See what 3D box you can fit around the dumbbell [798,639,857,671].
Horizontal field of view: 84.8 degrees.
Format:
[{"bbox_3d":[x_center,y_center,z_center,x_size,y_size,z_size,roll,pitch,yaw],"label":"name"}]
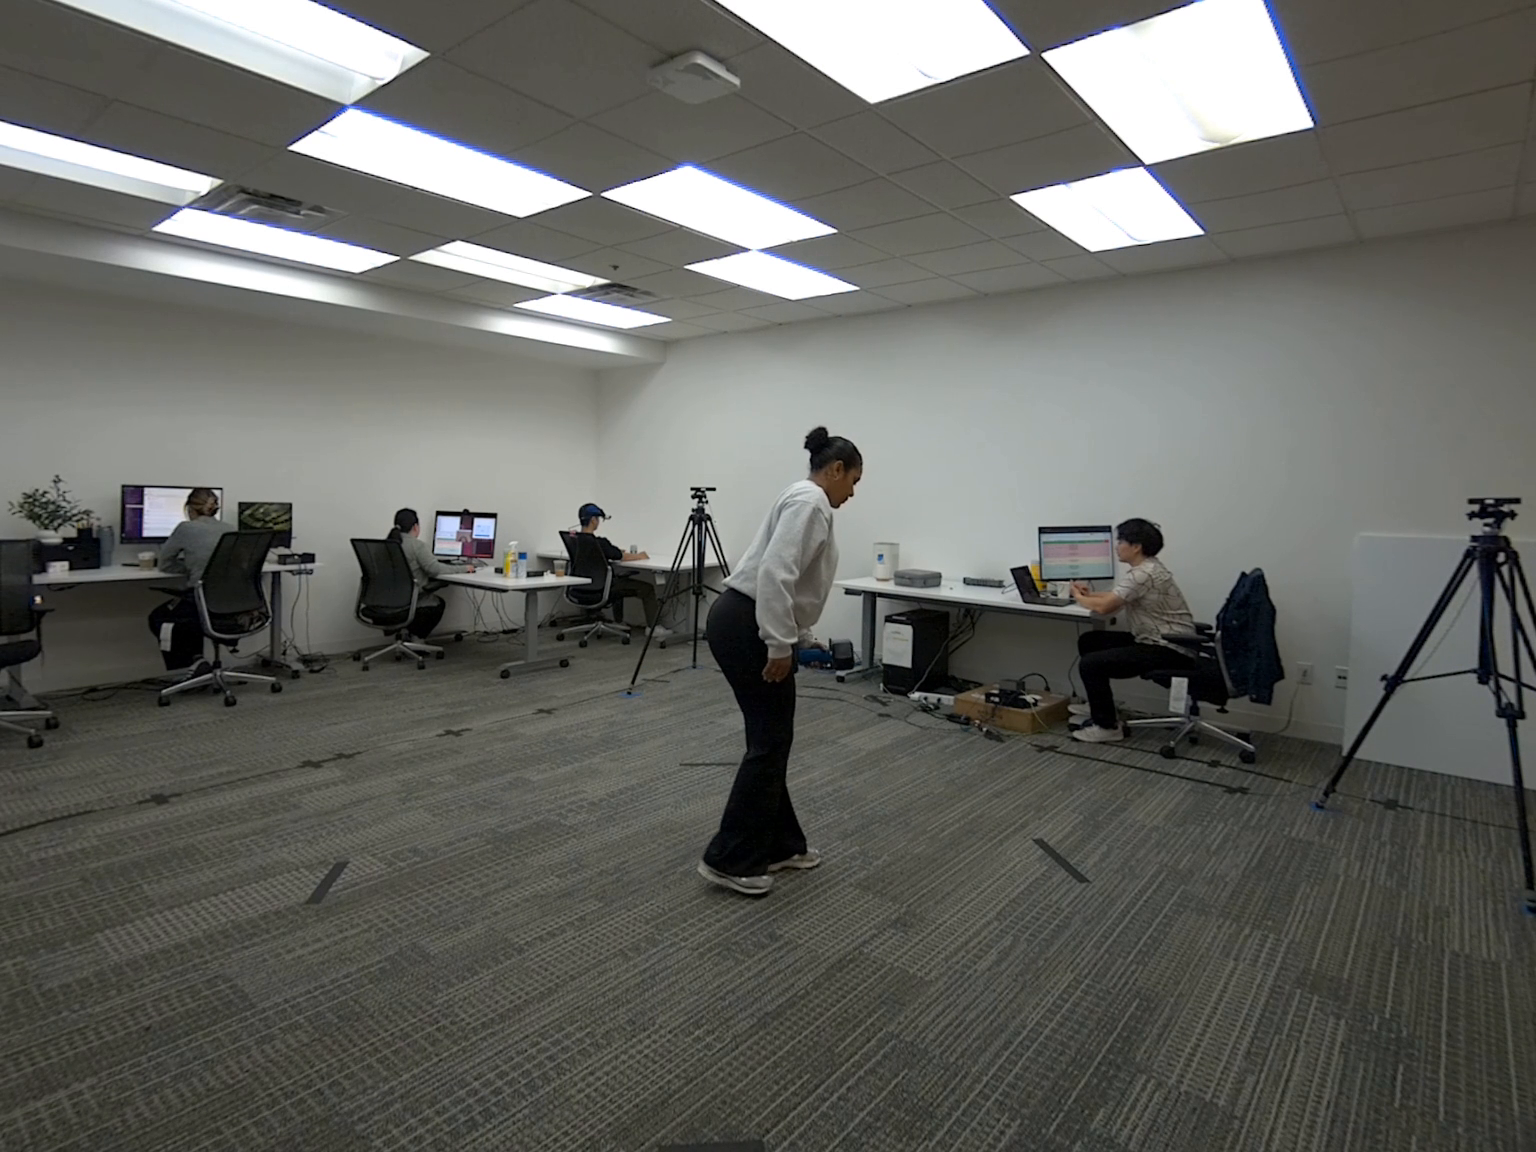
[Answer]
[{"bbox_3d":[0.161,0.302,3.232,0.295,0.126,0.106,-3,-25,5],"label":"dumbbell"}]
